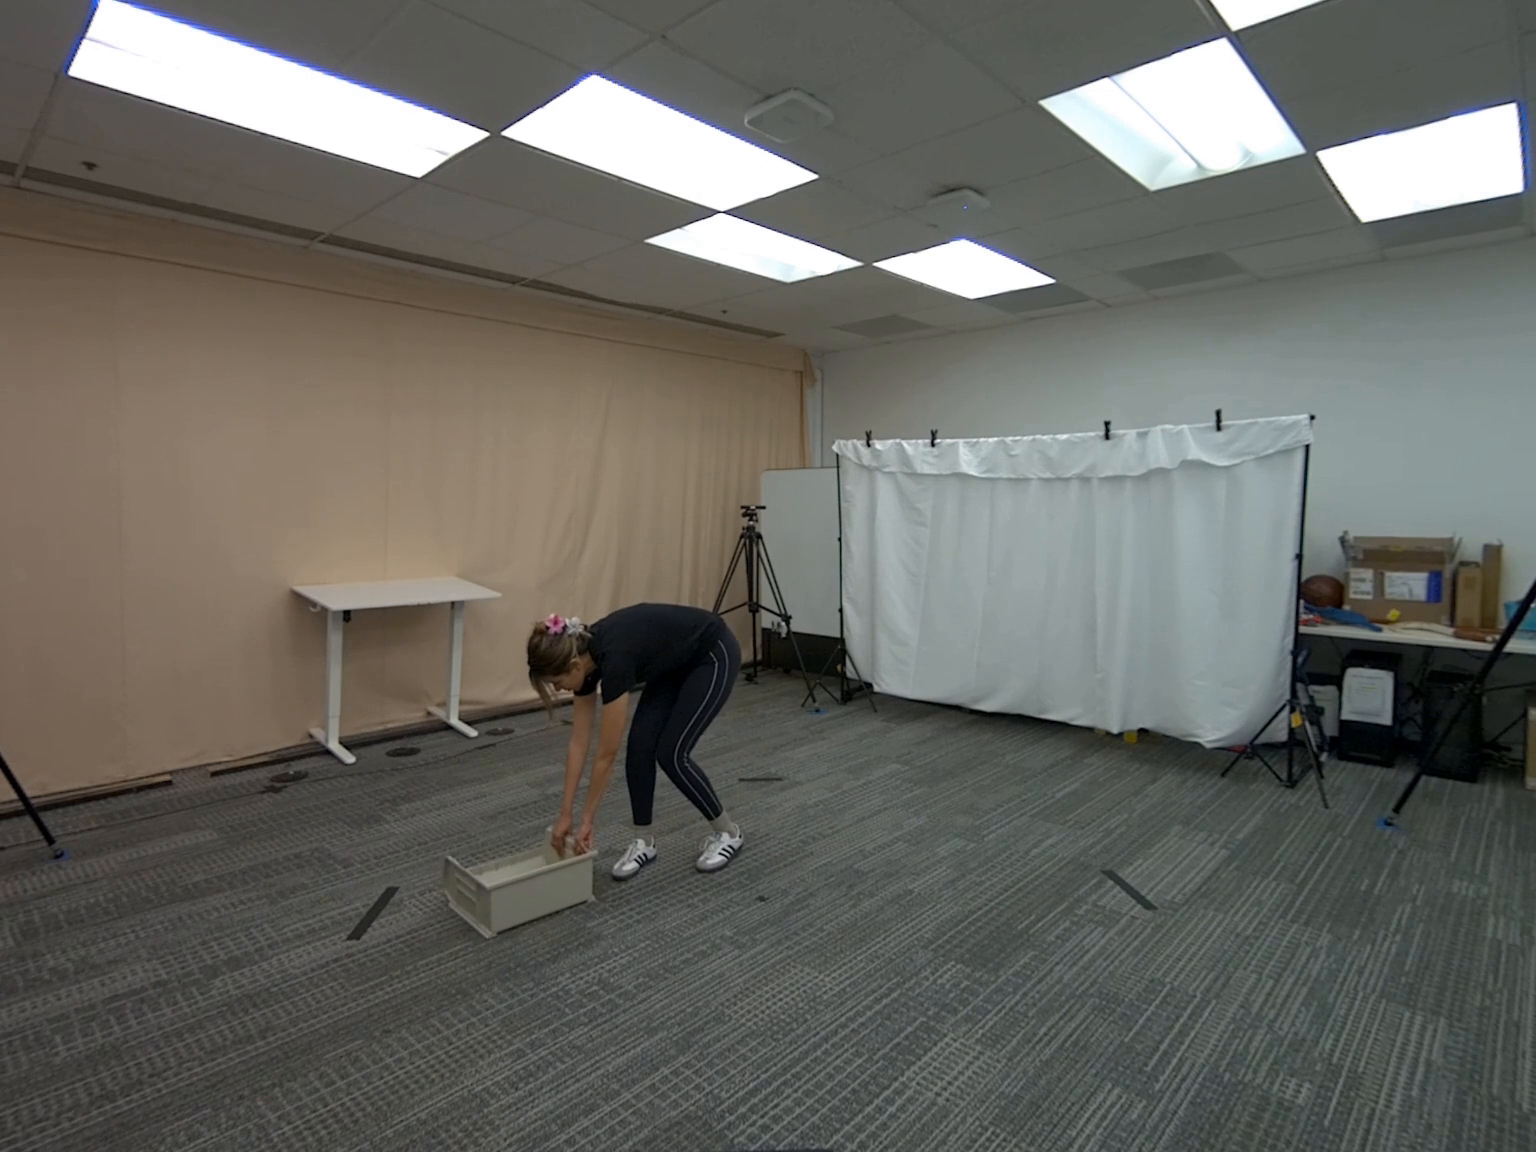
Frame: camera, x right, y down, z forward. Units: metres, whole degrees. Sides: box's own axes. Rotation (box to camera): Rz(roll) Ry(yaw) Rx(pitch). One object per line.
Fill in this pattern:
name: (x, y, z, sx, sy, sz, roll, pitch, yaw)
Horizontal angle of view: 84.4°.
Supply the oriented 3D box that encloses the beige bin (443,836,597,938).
beige bin: (-0.879, 1.062, 2.976, 0.409, 0.188, 0.390, -3, 6, -42)
